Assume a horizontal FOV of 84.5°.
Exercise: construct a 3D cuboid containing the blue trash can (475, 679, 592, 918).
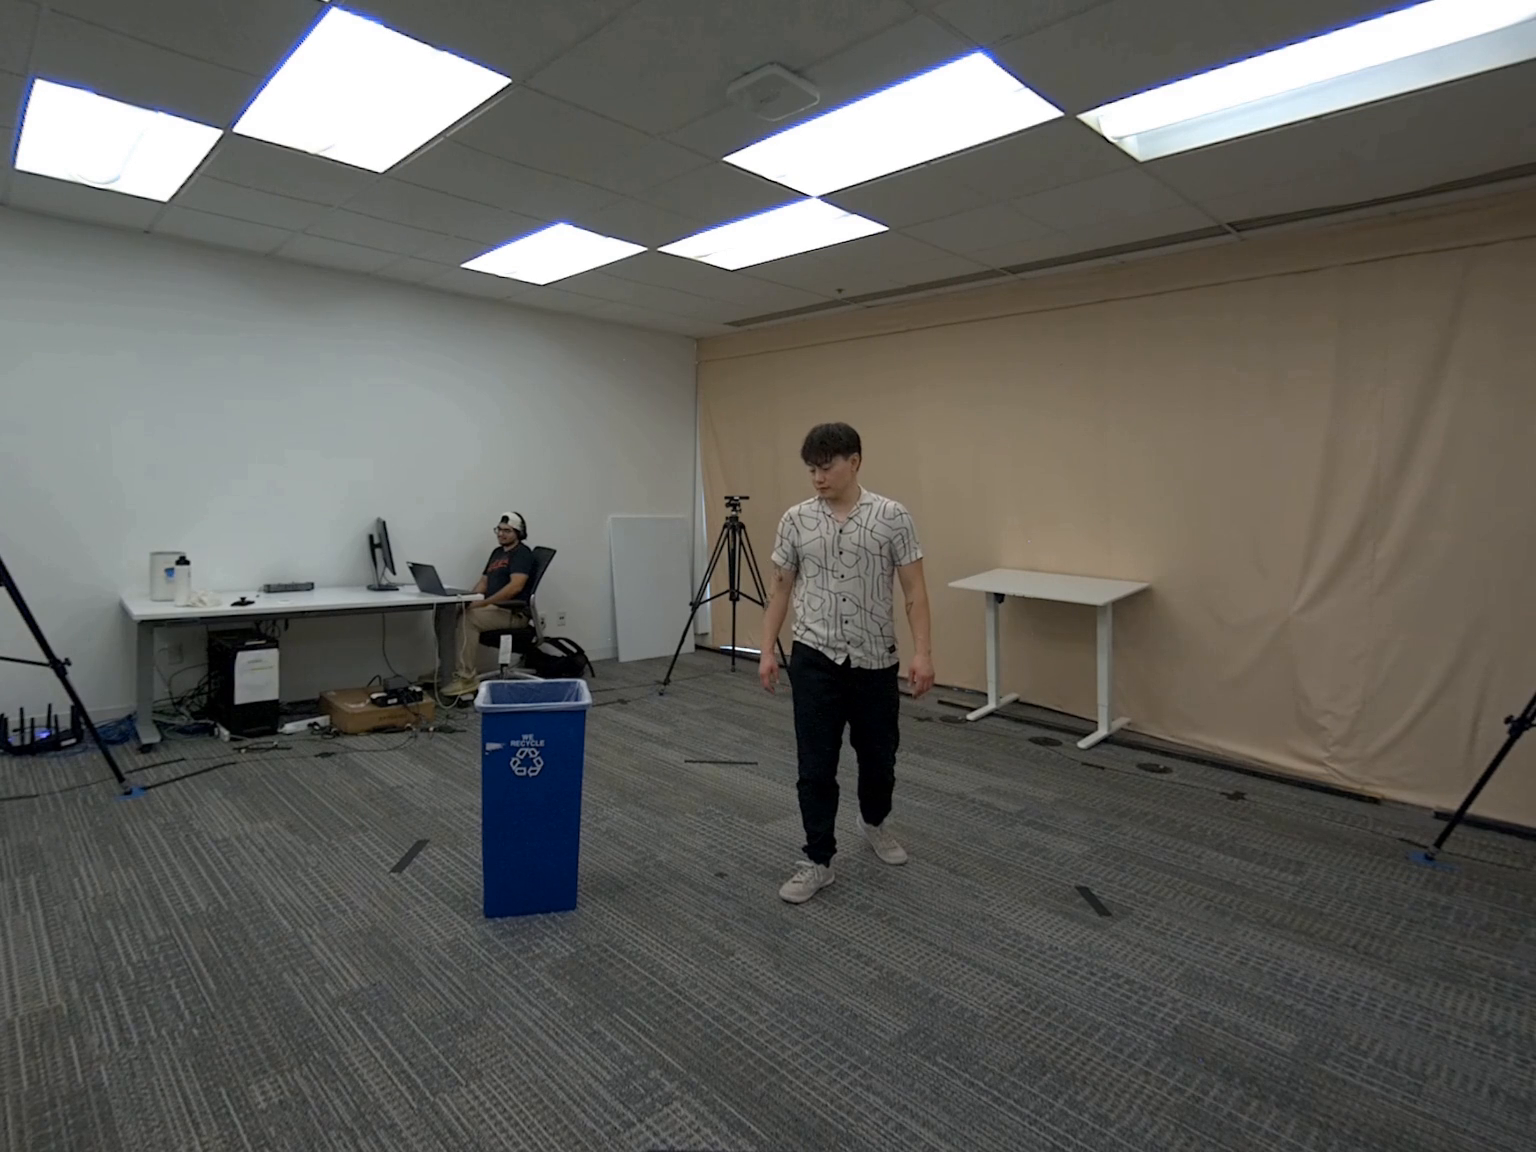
[{"bbox_3d":[-0.817,0.751,2.905,0.369,0.711,0.384,0,4,-16],"label":"blue trash can"}]
